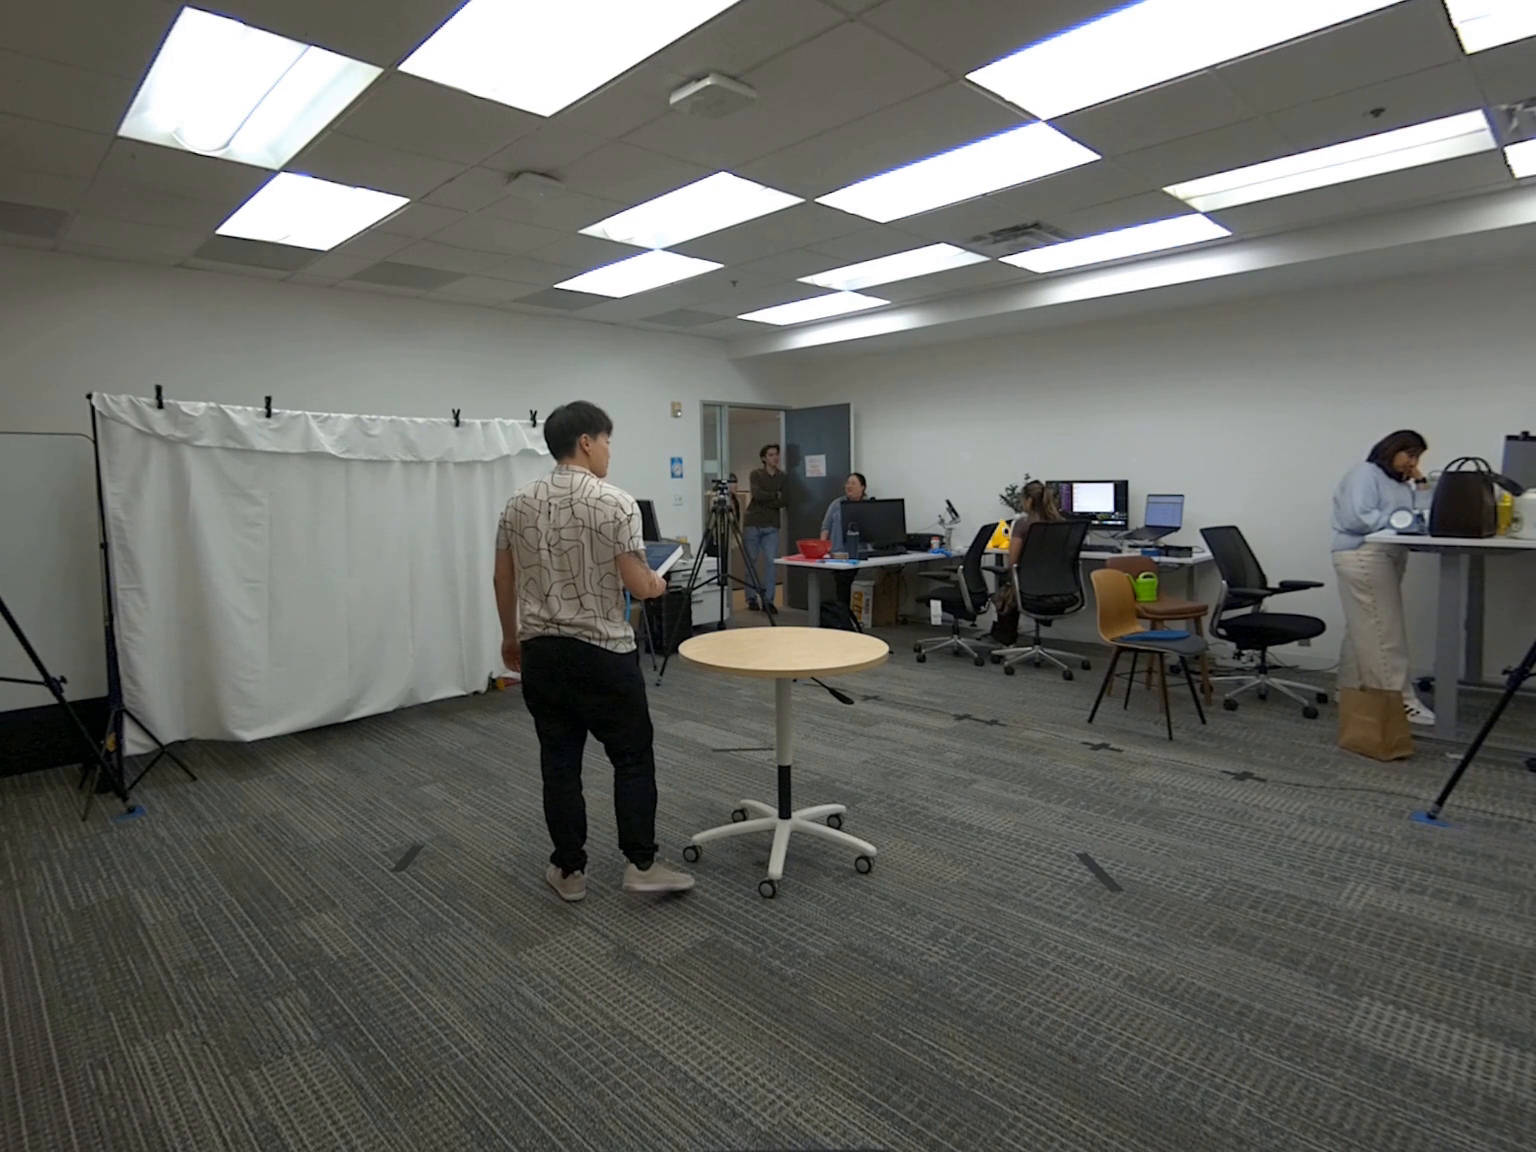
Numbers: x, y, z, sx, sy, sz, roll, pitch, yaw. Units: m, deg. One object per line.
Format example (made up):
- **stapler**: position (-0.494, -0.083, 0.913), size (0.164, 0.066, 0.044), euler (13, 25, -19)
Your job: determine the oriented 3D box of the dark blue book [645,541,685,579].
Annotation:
- **dark blue book**: position (-0.433, -0.040, 3.171), size (0.167, 0.044, 0.245), euler (-1, 31, 29)
